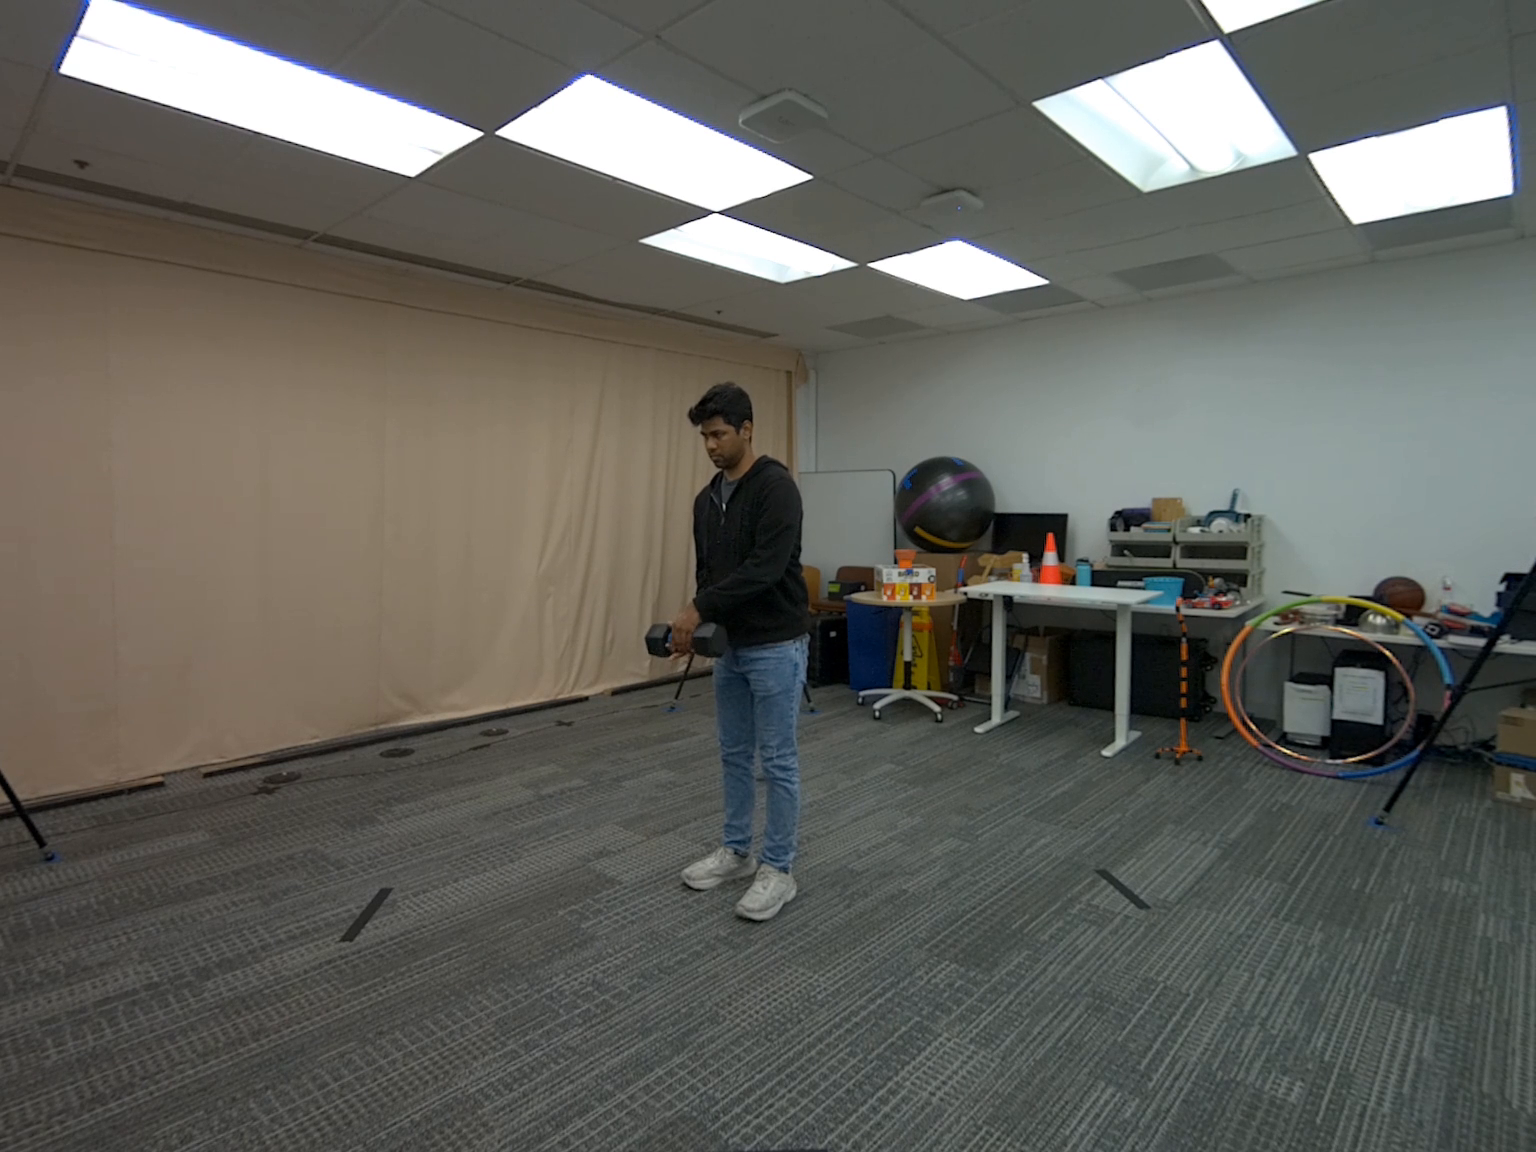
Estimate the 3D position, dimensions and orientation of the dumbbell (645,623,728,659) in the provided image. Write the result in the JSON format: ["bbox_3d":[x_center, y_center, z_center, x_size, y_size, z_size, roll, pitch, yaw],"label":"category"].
[{"bbox_3d":[-0.273,0.229,2.847,0.302,0.105,0.123,-1,44,36],"label":"dumbbell"}]
